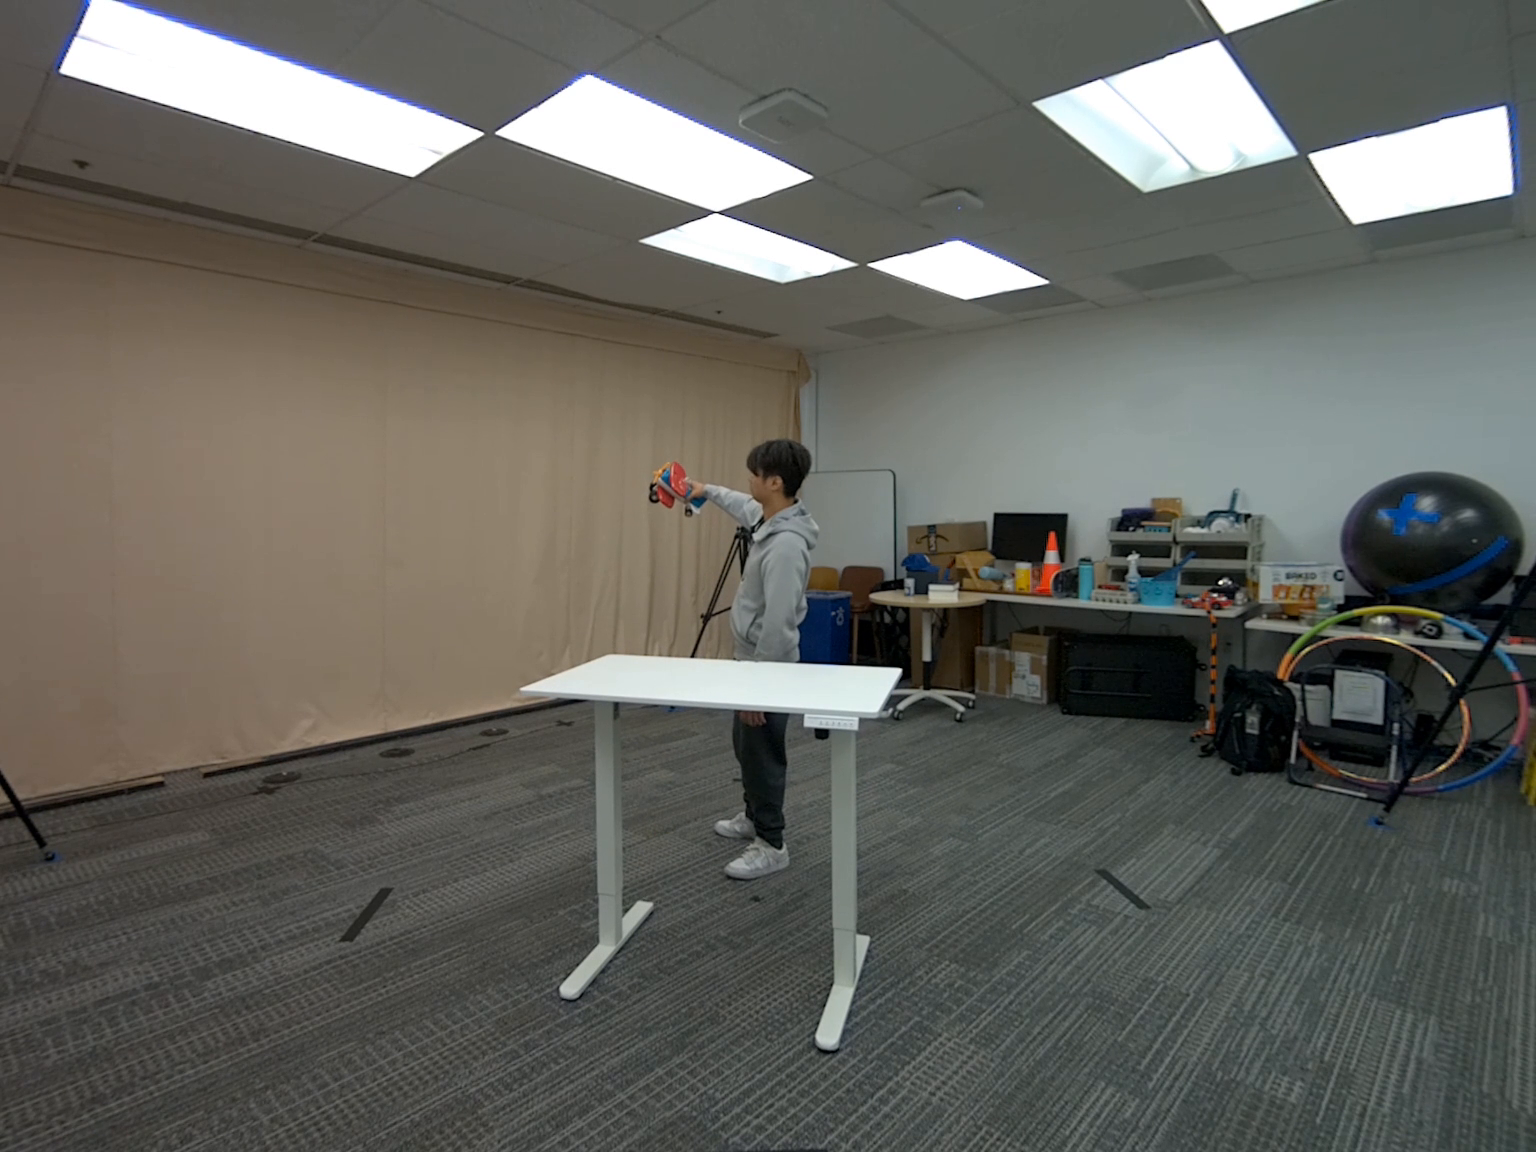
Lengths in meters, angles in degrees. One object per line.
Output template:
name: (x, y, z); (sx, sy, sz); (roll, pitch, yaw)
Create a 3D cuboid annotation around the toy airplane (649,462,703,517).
toy airplane: (-0.398, -0.380, 3.724); (0.250, 0.157, 0.259); (9, 38, -41)
